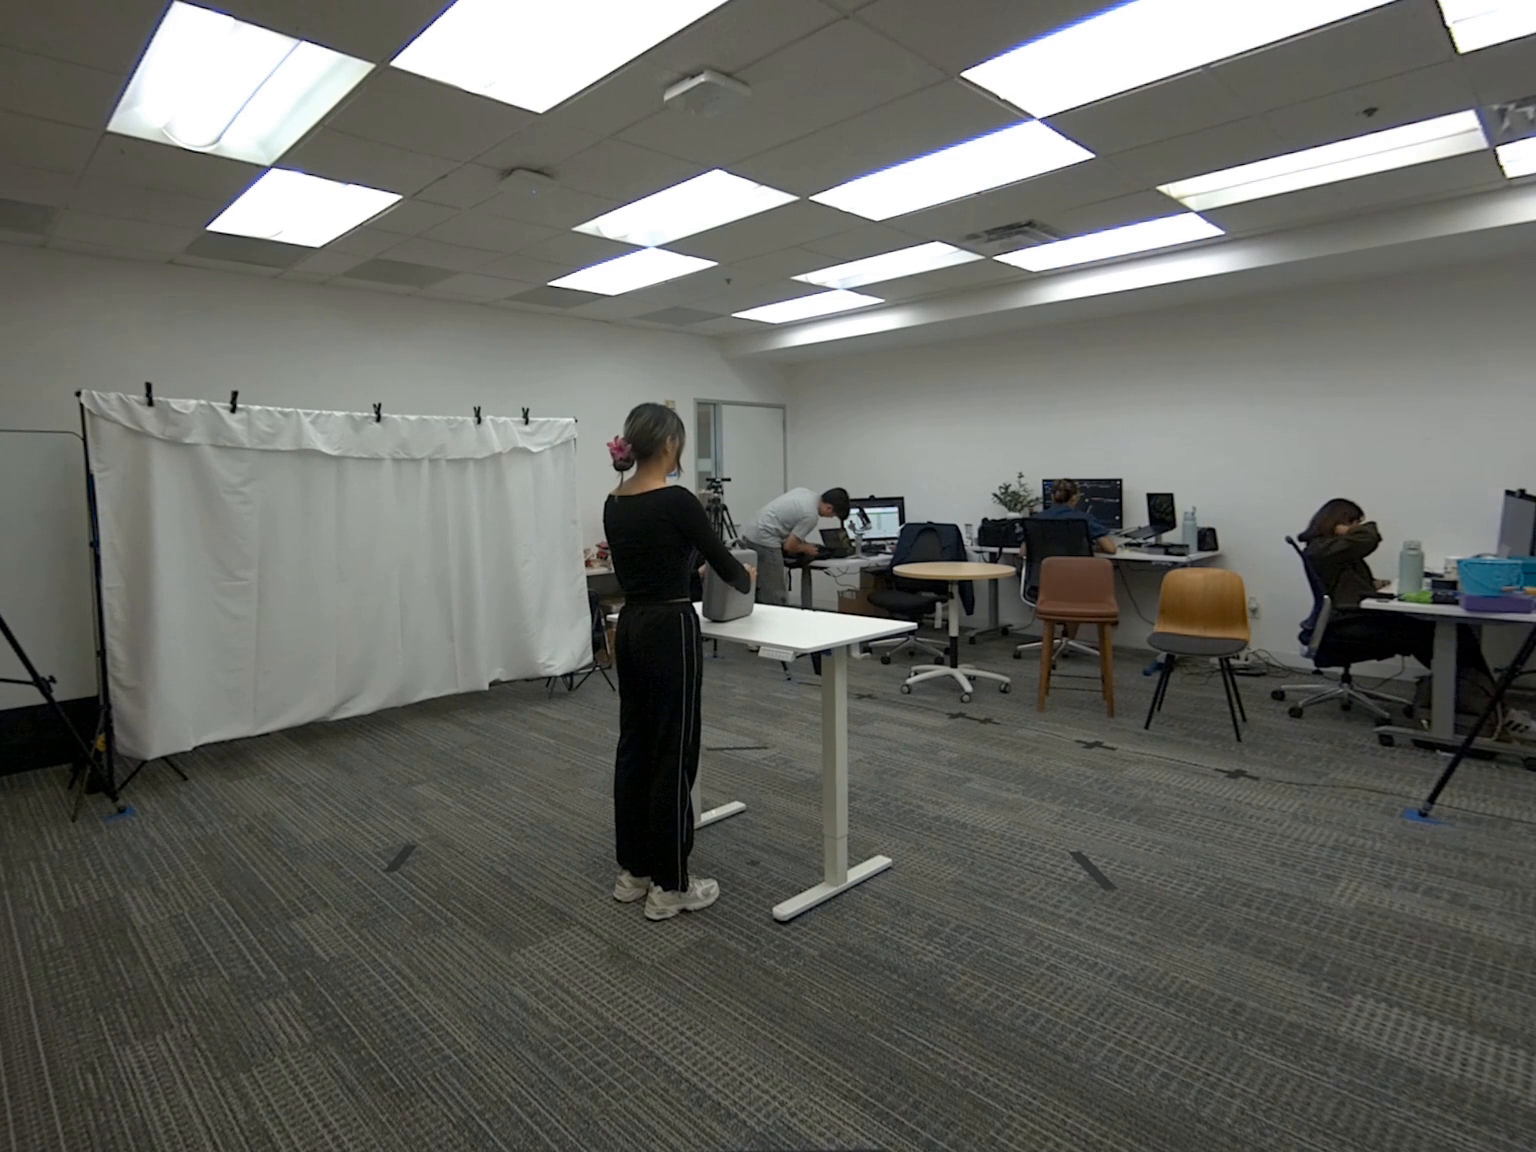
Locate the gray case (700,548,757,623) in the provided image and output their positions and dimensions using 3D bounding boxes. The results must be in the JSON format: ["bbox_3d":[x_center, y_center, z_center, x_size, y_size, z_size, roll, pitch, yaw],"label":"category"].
[{"bbox_3d":[-0.127,0.027,3.133,0.107,0.259,0.252,5,6,23],"label":"gray case"}]
